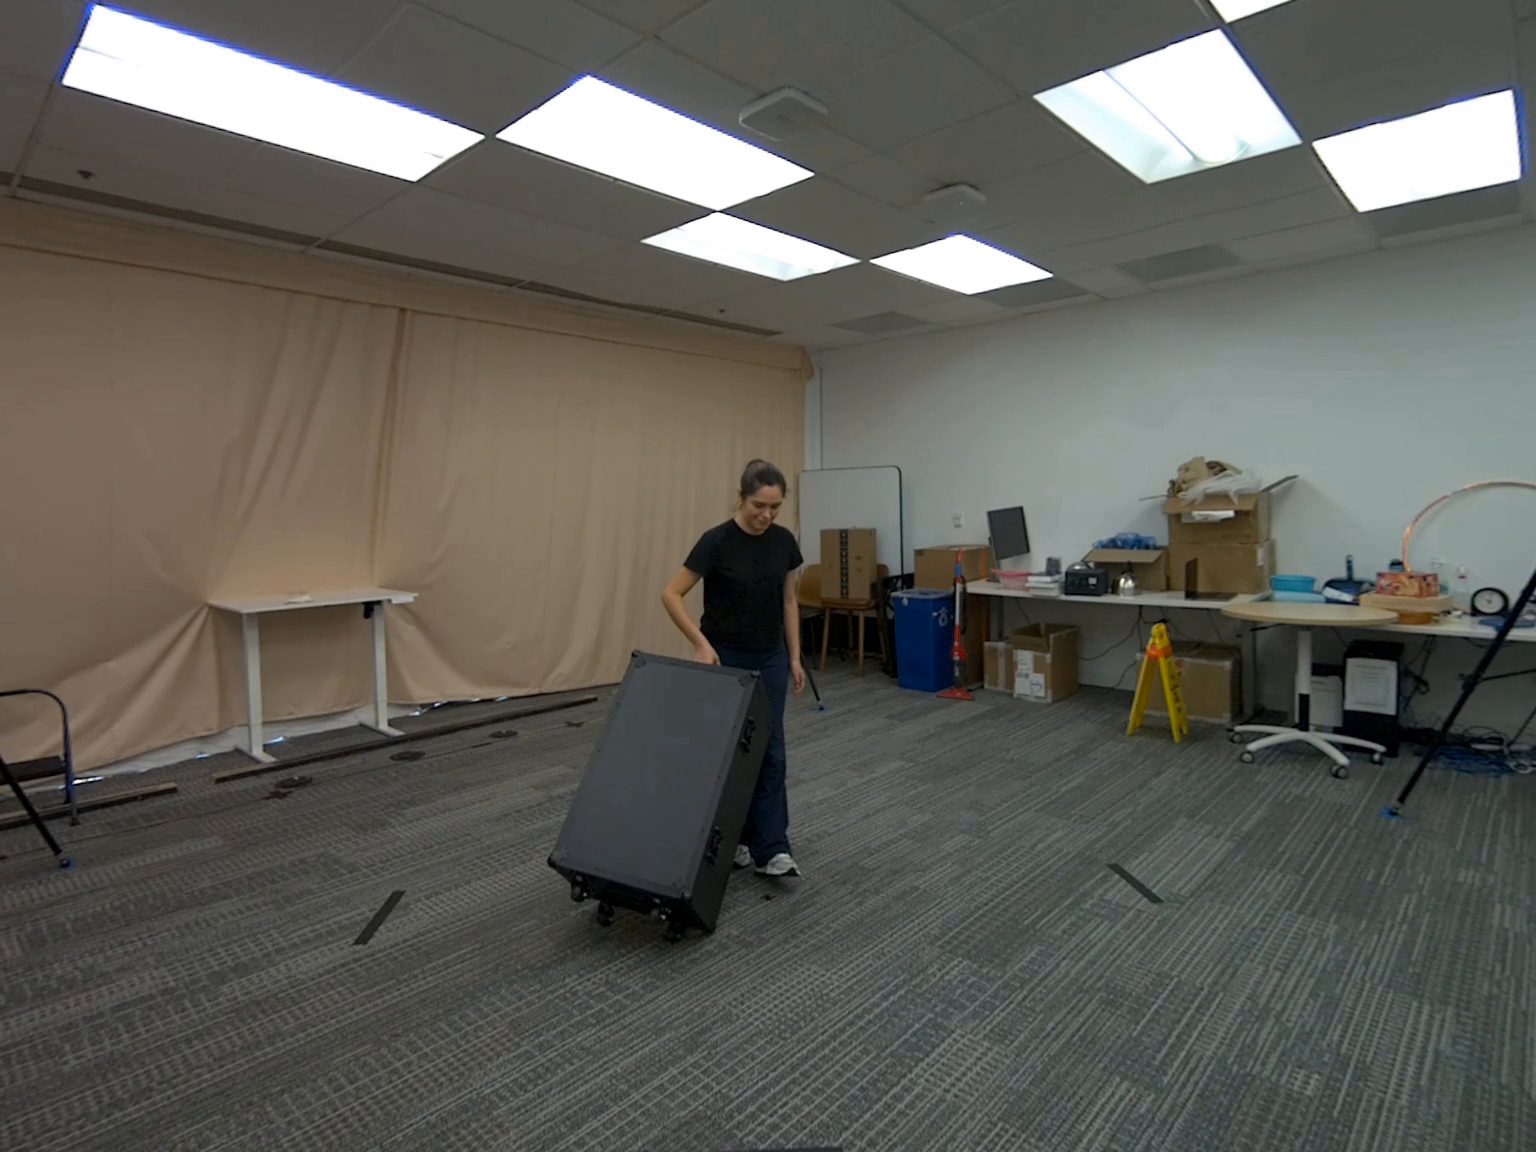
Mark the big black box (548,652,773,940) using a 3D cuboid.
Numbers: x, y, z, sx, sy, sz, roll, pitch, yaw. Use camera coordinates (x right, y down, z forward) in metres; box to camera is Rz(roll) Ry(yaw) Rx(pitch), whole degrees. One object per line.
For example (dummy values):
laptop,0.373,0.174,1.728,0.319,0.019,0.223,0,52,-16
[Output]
big black box,-0.334,0.746,2.884,0.532,0.867,0.386,6,-35,18
